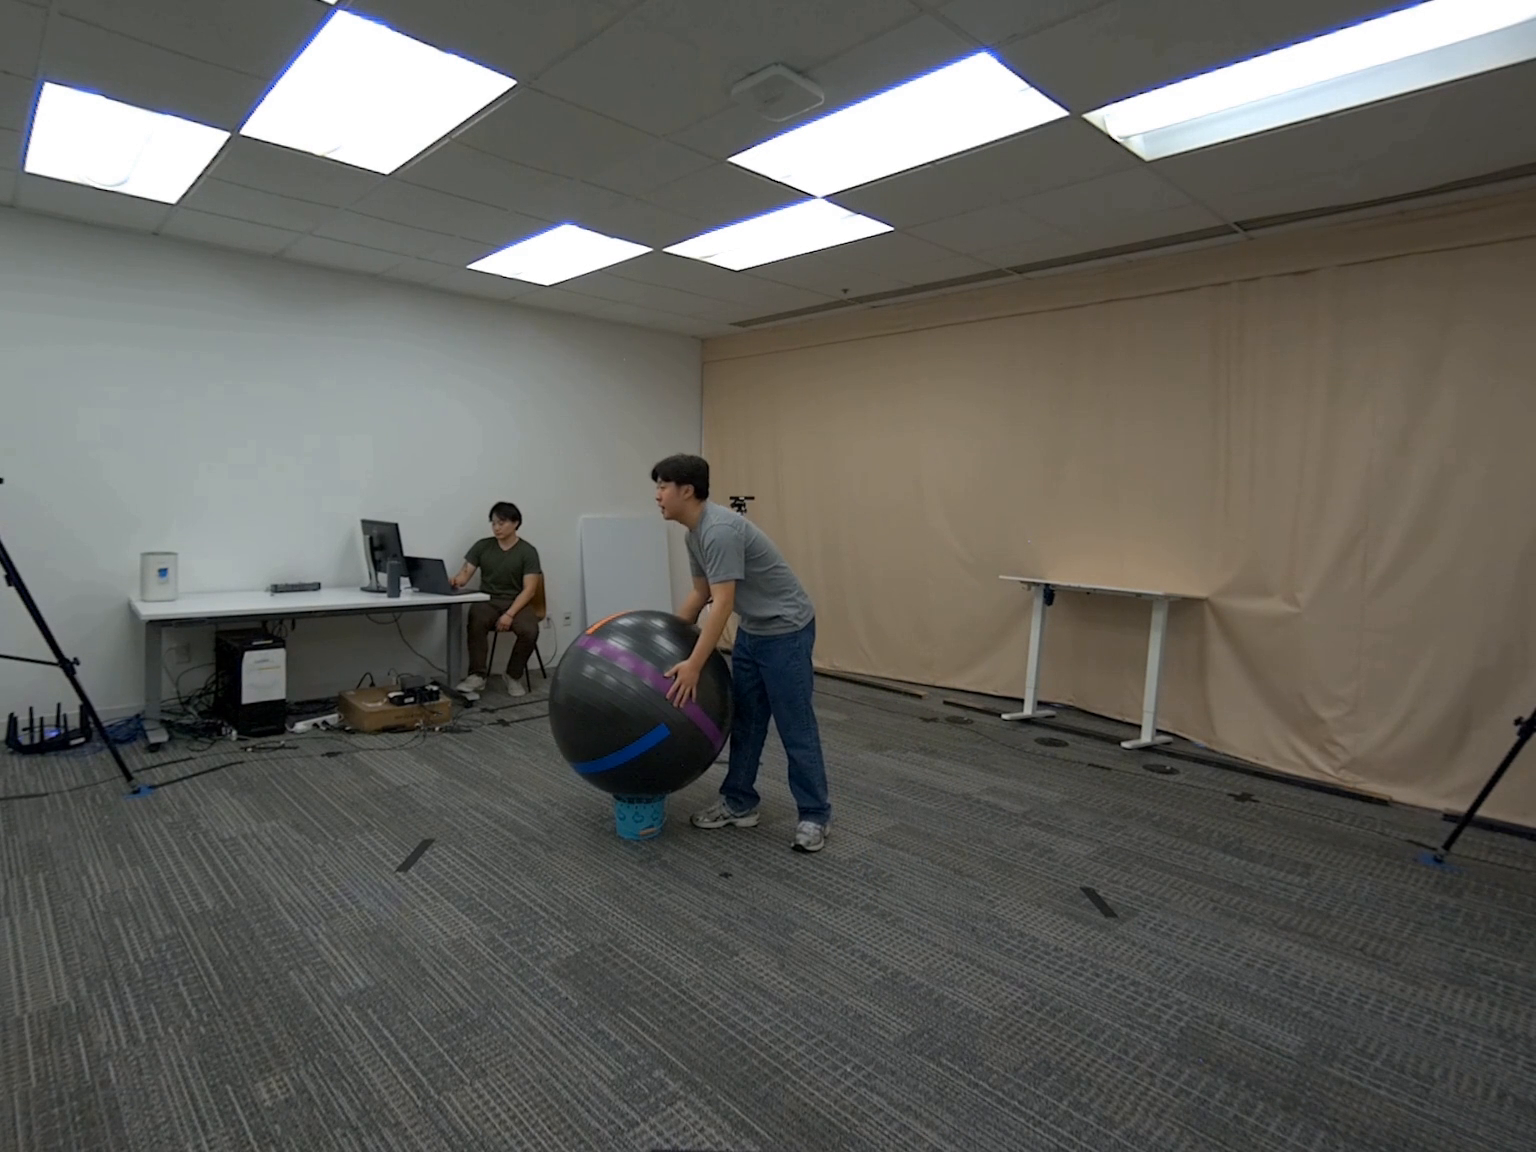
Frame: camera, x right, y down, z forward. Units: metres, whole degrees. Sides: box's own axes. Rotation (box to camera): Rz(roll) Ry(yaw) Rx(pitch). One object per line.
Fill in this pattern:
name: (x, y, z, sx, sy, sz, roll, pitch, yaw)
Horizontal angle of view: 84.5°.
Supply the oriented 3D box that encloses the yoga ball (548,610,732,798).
yoga ball: (-0.526, 0.518, 3.475, 0.757, 0.756, 0.761, 1, 4, -1)
